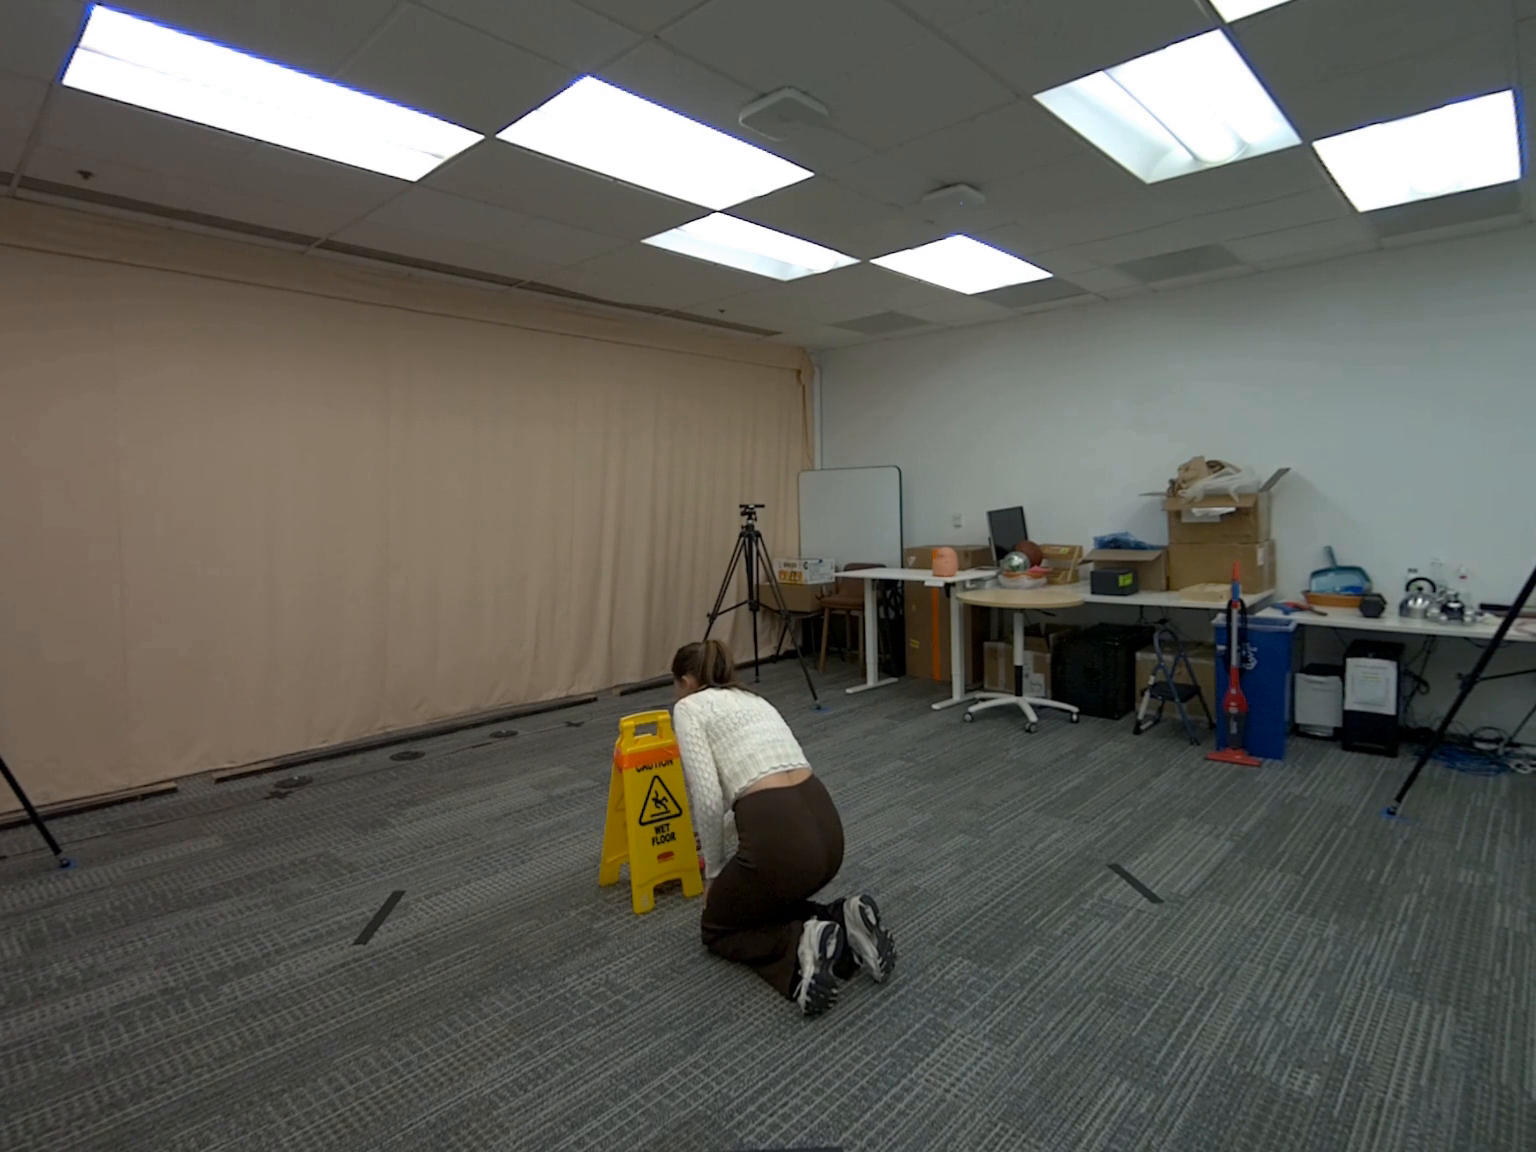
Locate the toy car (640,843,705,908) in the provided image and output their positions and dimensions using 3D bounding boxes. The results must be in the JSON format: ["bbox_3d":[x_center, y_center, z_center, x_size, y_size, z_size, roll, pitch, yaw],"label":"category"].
[{"bbox_3d":[-0.324,1.100,3.131,0.248,0.082,0.134,-19,13,-36],"label":"toy car"}]
